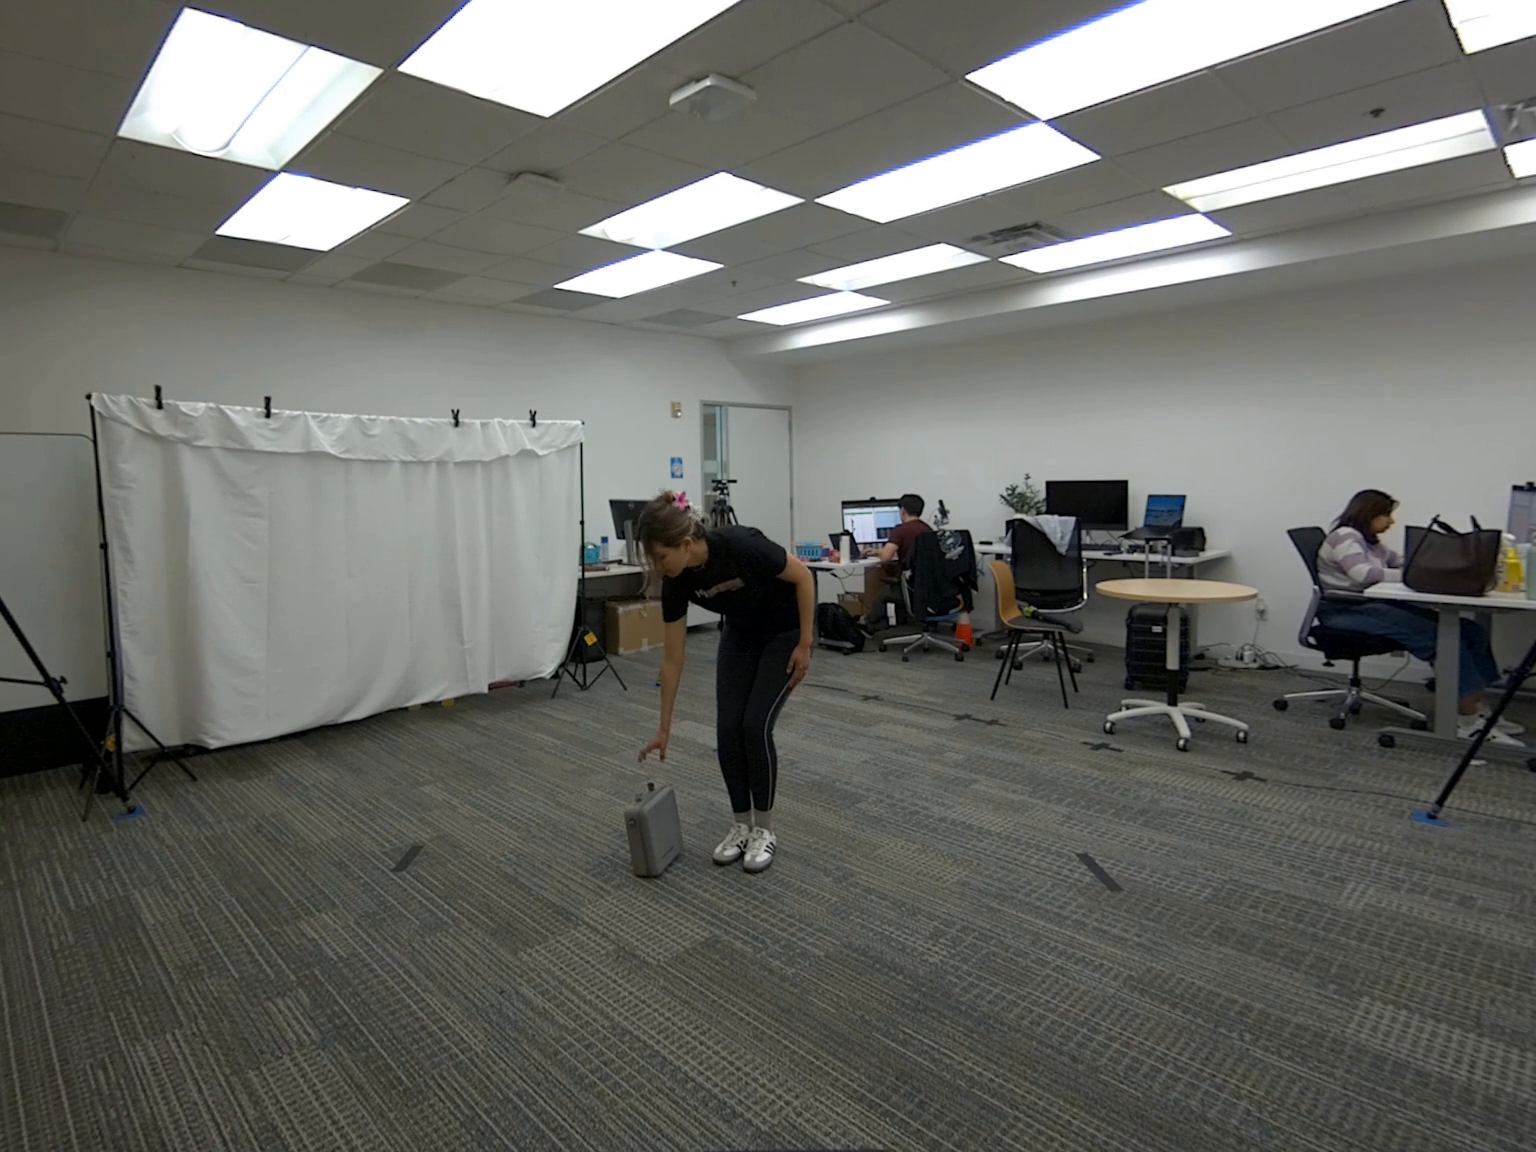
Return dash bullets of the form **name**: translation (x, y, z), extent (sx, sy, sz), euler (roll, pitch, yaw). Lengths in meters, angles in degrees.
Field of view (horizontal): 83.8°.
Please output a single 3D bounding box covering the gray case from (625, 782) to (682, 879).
- **gray case**: translation (-0.412, 0.922, 3.108), extent (0.106, 0.260, 0.253), euler (-8, 1, 18)
